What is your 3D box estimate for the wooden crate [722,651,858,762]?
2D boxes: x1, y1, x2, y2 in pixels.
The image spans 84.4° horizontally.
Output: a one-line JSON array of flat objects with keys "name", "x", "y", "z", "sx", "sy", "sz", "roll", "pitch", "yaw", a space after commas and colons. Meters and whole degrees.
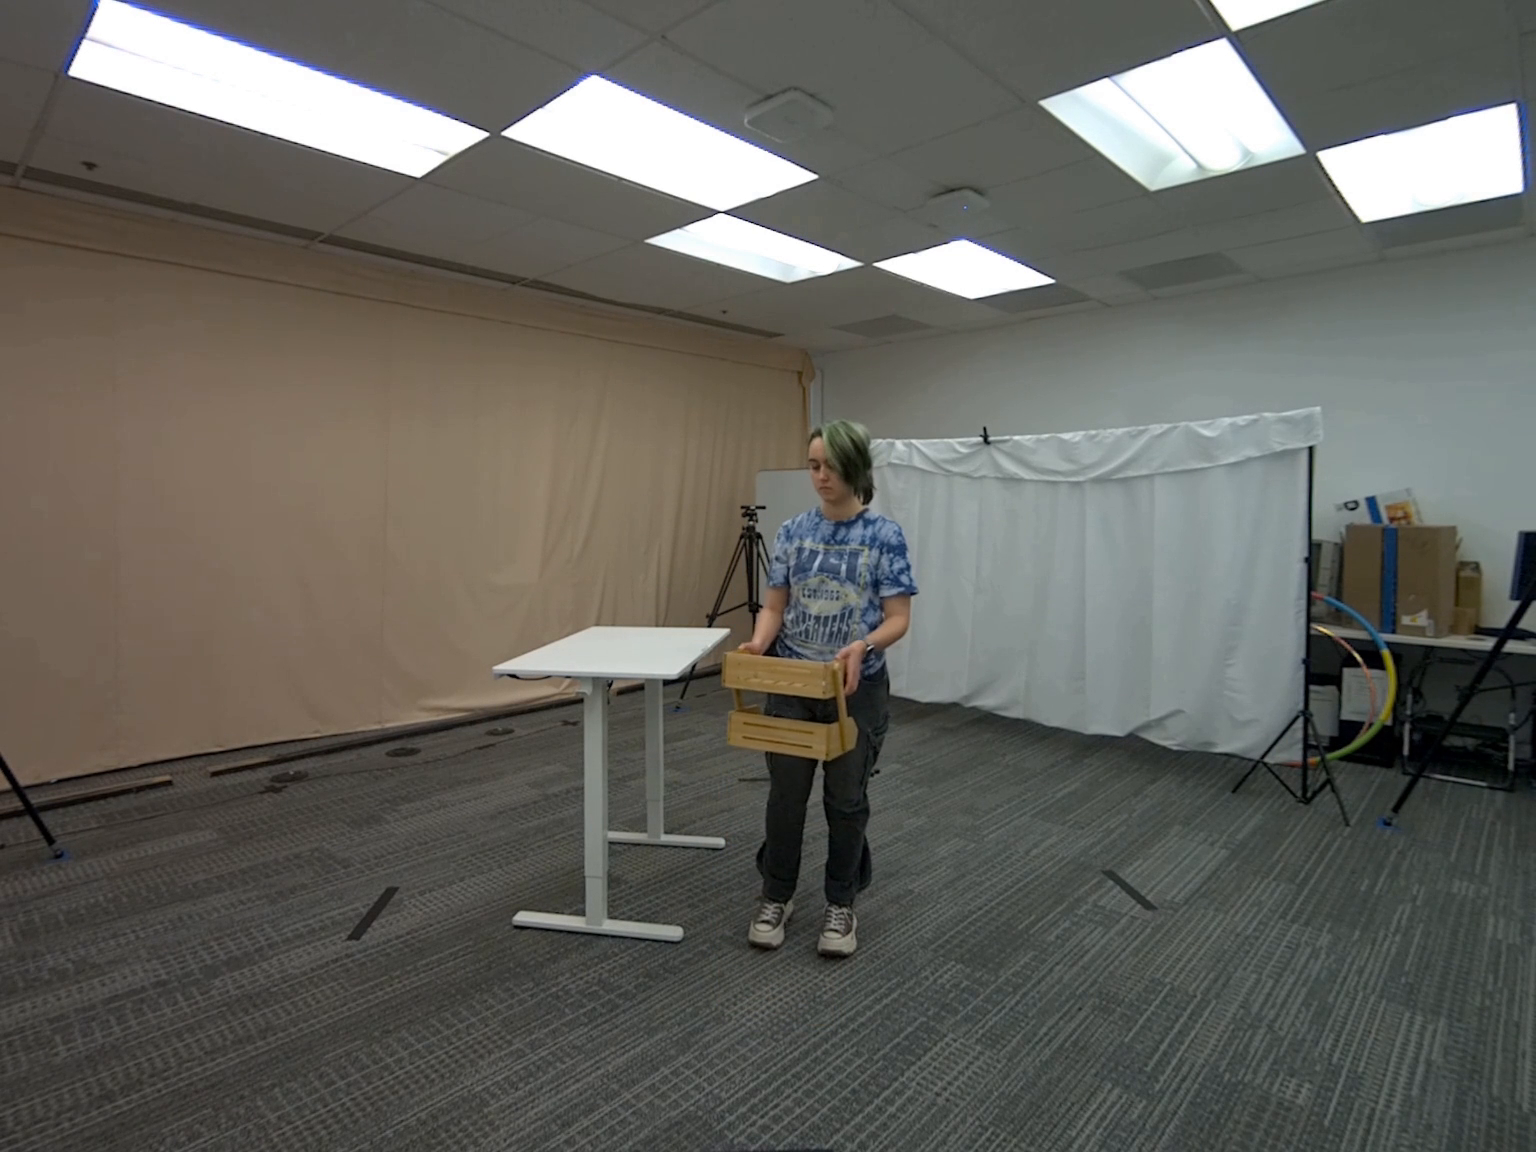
[{"name": "wooden crate", "x": 0.068, "y": 0.348, "z": 2.371, "sx": 0.333, "sy": 0.273, "sz": 0.294, "roll": 3, "pitch": -1, "yaw": 25}]
